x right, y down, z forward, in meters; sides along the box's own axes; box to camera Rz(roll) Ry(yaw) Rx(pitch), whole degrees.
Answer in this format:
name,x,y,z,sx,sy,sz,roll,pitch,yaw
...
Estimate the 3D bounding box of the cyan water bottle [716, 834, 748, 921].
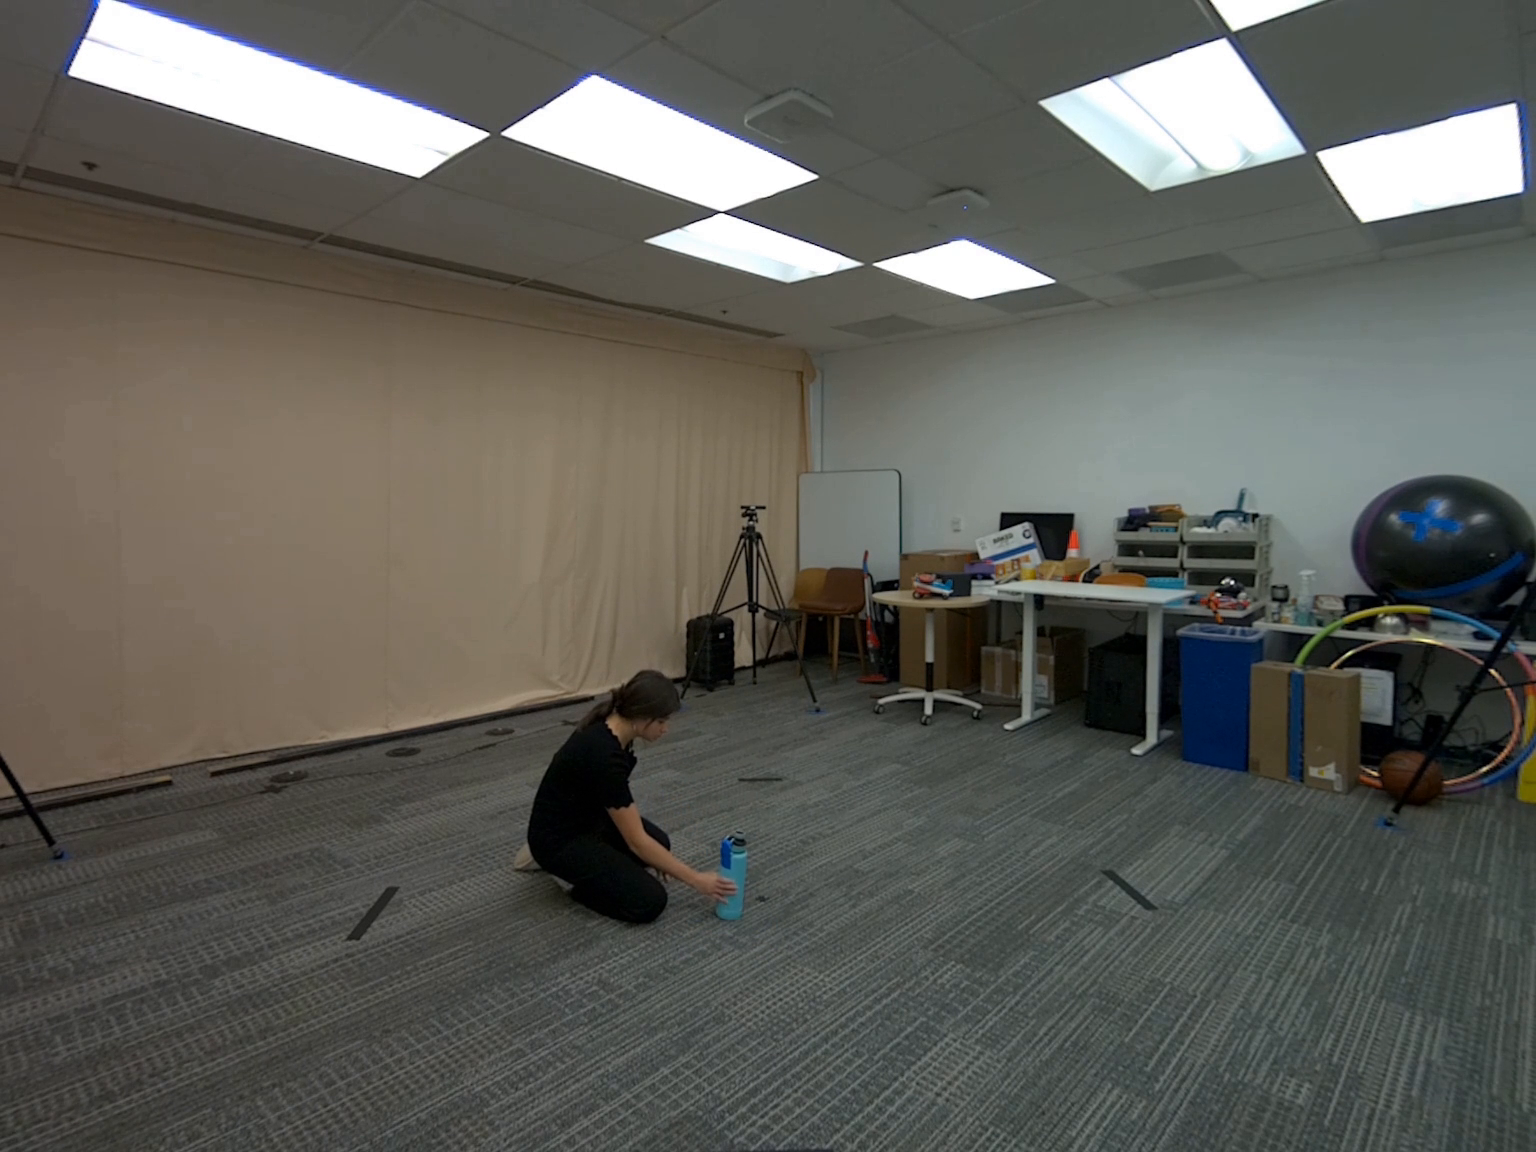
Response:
name,x,y,z,sx,sy,sz,roll,pitch,yaw
cyan water bottle,-0.126,1.016,2.848,0.092,0.282,0.093,2,5,-2
